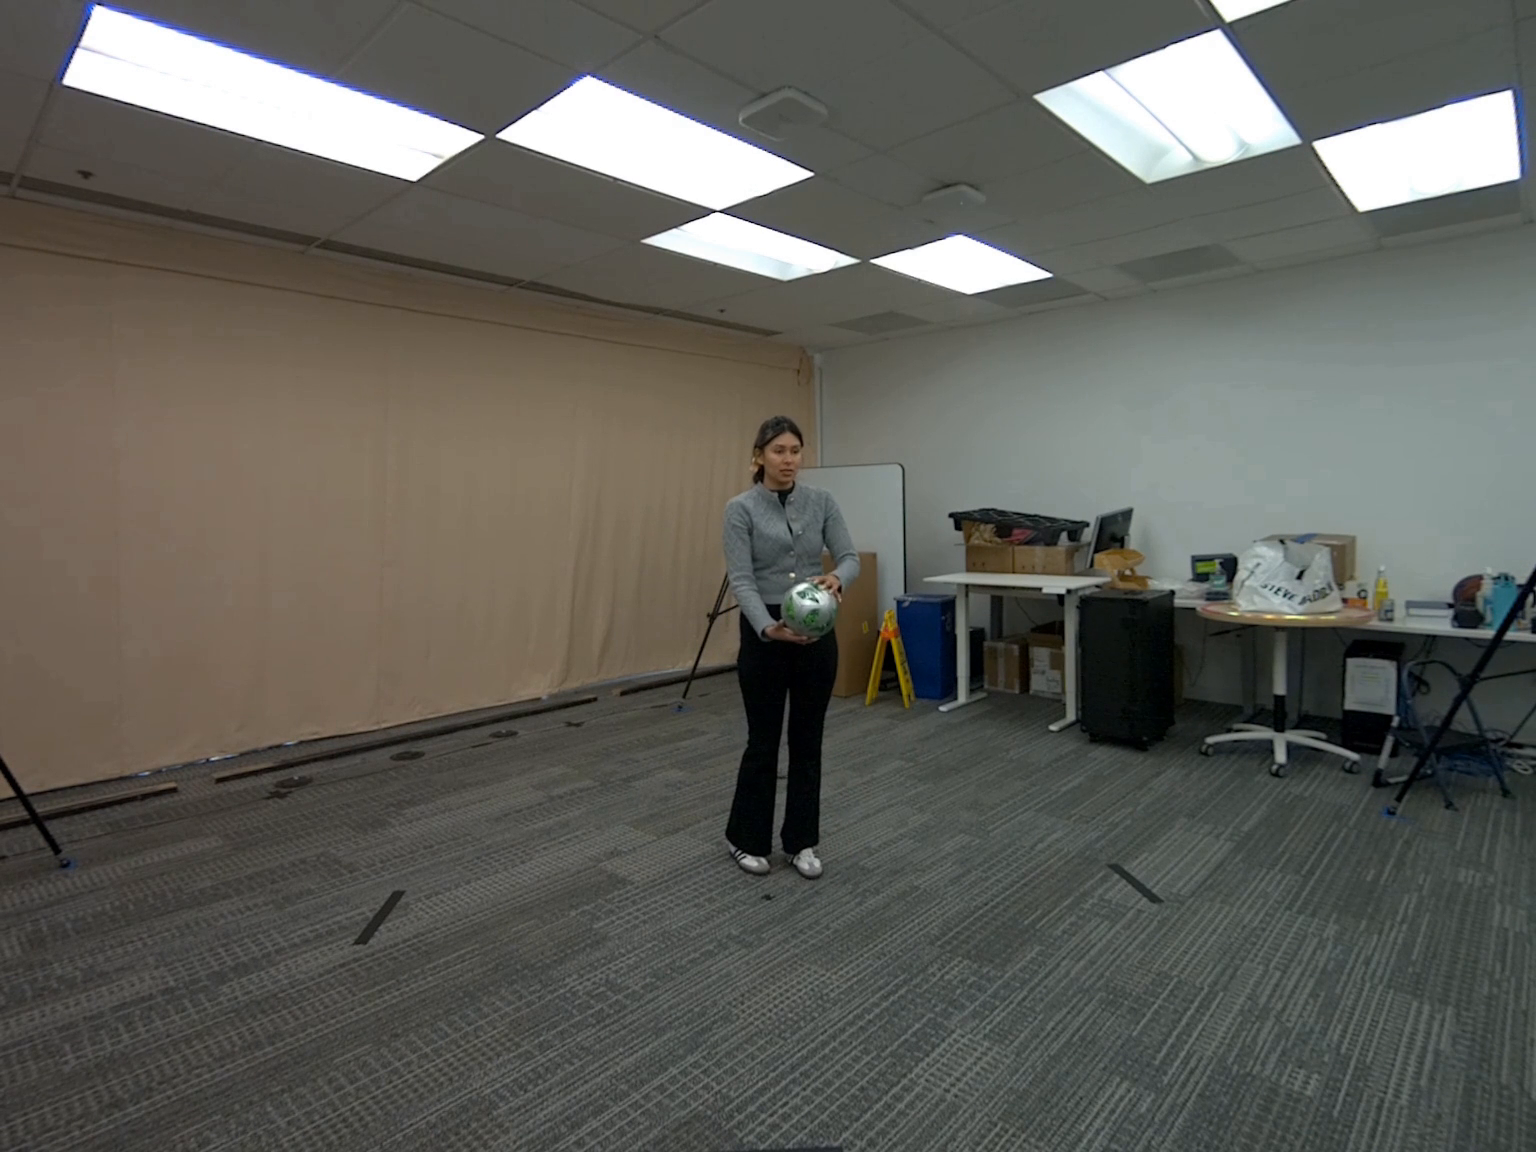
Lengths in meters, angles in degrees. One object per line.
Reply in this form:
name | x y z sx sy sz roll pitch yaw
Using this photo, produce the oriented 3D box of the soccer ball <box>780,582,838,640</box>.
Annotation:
soccer ball | 0.130 0.116 2.784 0.187 0.187 0.188 -1 4 -2
